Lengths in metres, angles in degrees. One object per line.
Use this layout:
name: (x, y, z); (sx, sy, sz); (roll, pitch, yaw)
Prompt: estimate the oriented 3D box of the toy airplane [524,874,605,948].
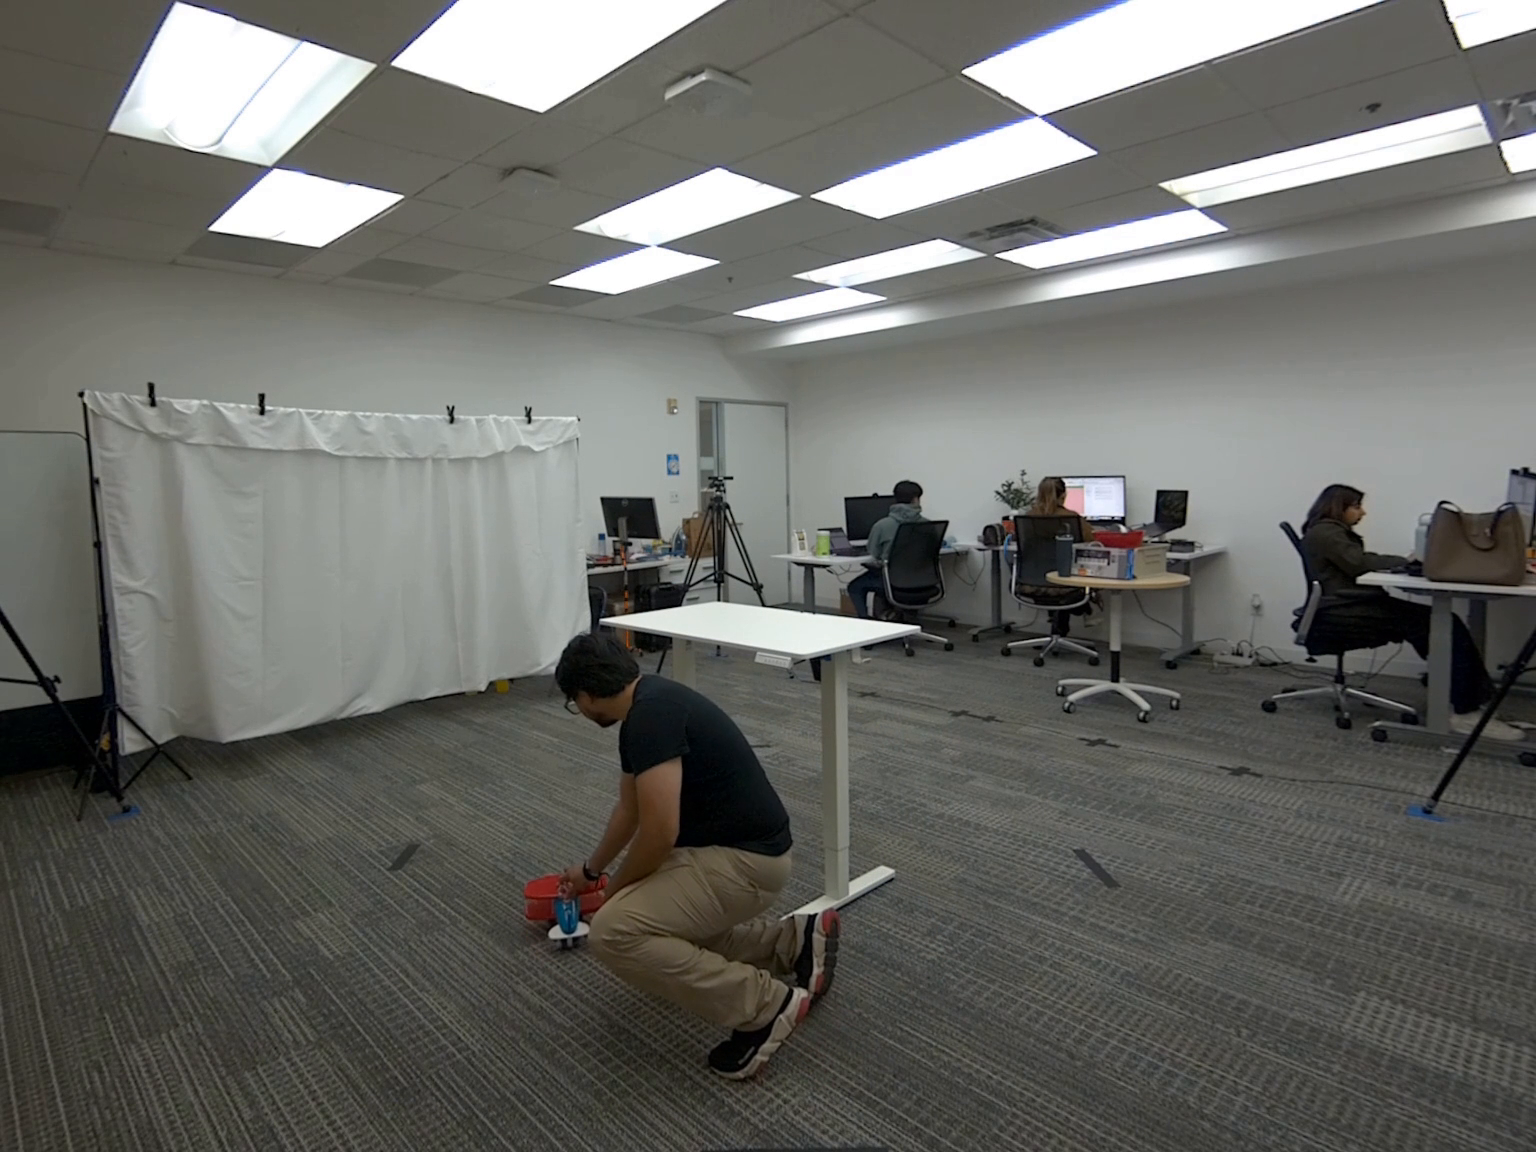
toy airplane: (-0.603, 1.029, 2.650); (0.245, 0.156, 0.267); (-8, 8, -42)
